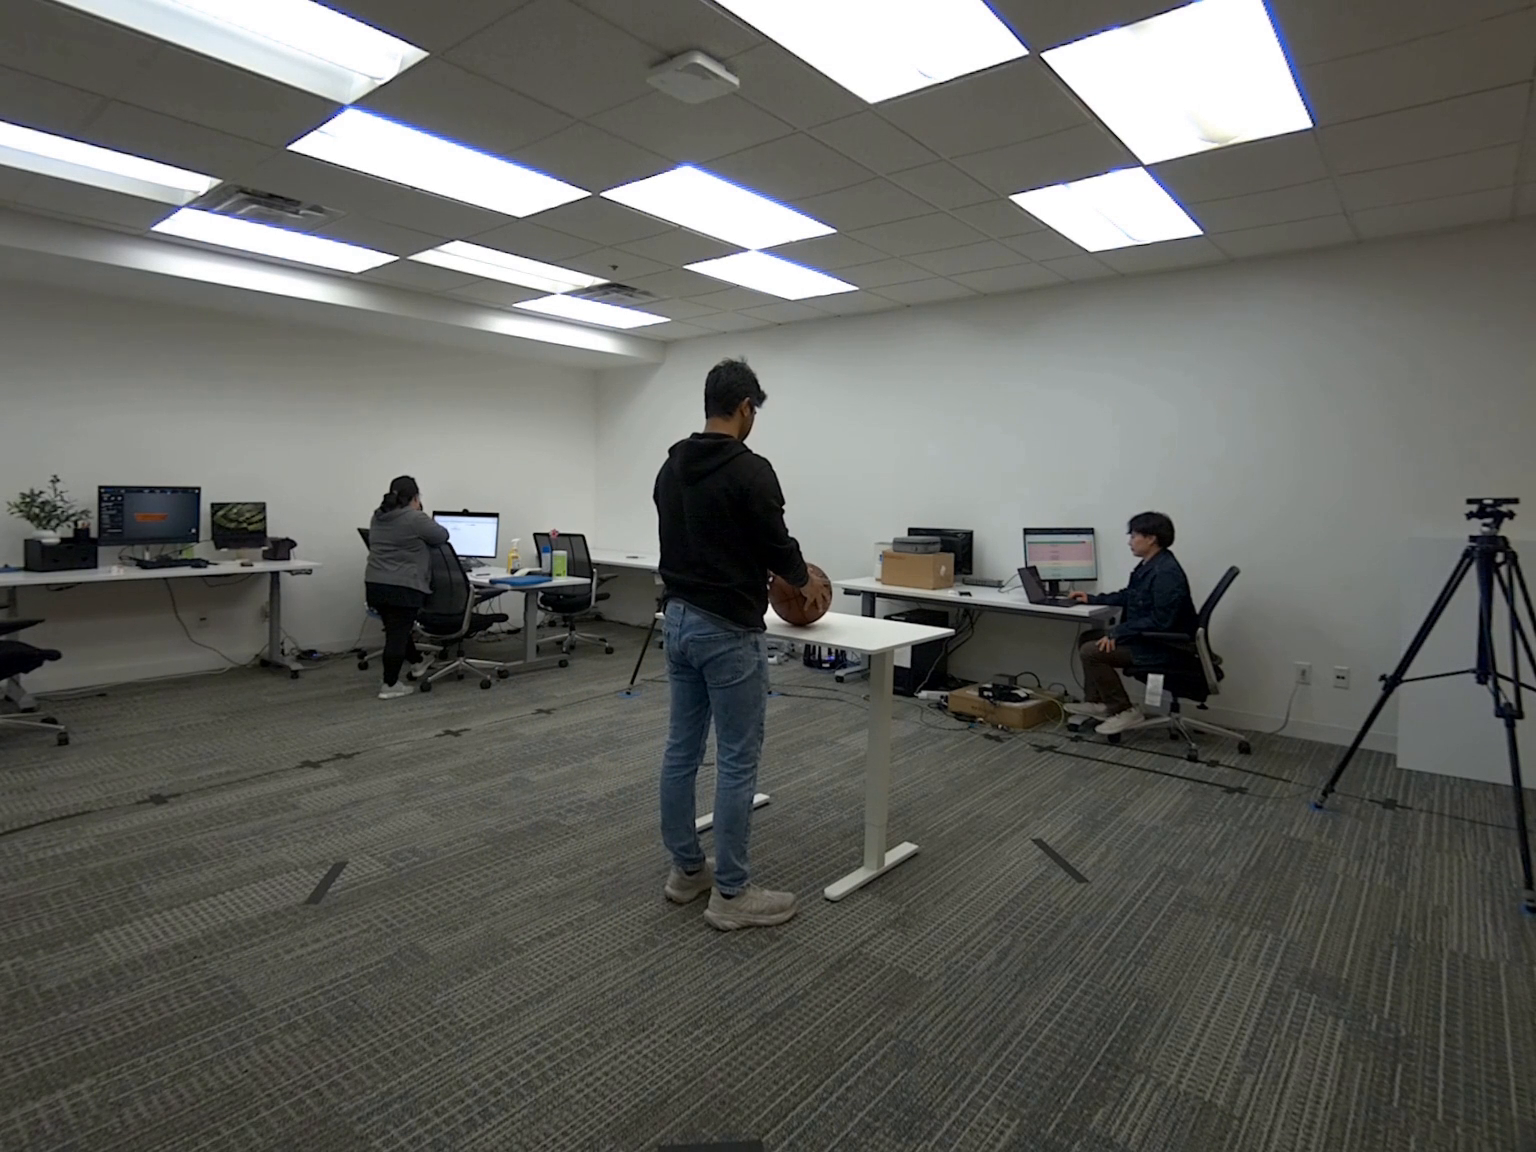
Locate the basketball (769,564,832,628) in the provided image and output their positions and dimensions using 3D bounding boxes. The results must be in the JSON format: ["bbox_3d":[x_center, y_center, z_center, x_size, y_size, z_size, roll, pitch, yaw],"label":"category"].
[{"bbox_3d":[0.109,0.062,3.195,0.235,0.235,0.237,1,4,-2],"label":"basketball"}]
